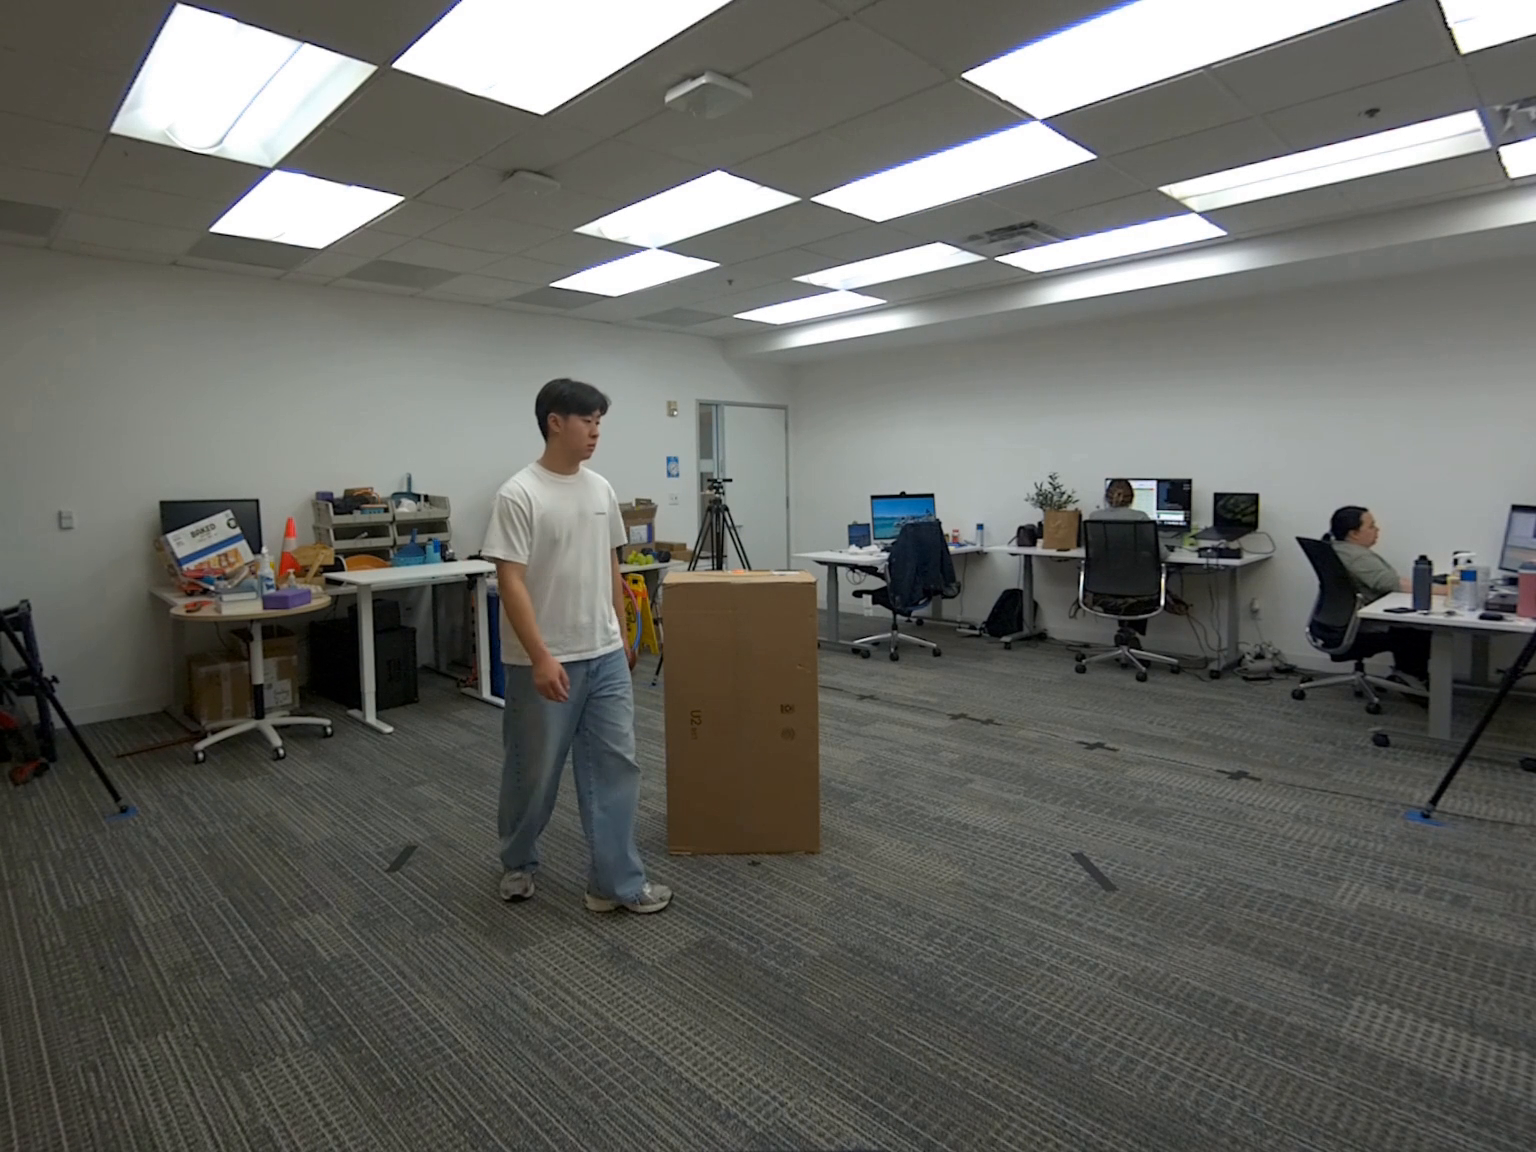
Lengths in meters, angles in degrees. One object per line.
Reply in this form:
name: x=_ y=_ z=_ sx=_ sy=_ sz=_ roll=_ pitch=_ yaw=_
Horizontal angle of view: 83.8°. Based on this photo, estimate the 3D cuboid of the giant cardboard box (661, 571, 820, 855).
giant cardboard box: x=-0.102 y=0.508 z=3.366 sx=0.577 sy=1.022 sz=0.428 roll=-1 pitch=4 yaw=-1
